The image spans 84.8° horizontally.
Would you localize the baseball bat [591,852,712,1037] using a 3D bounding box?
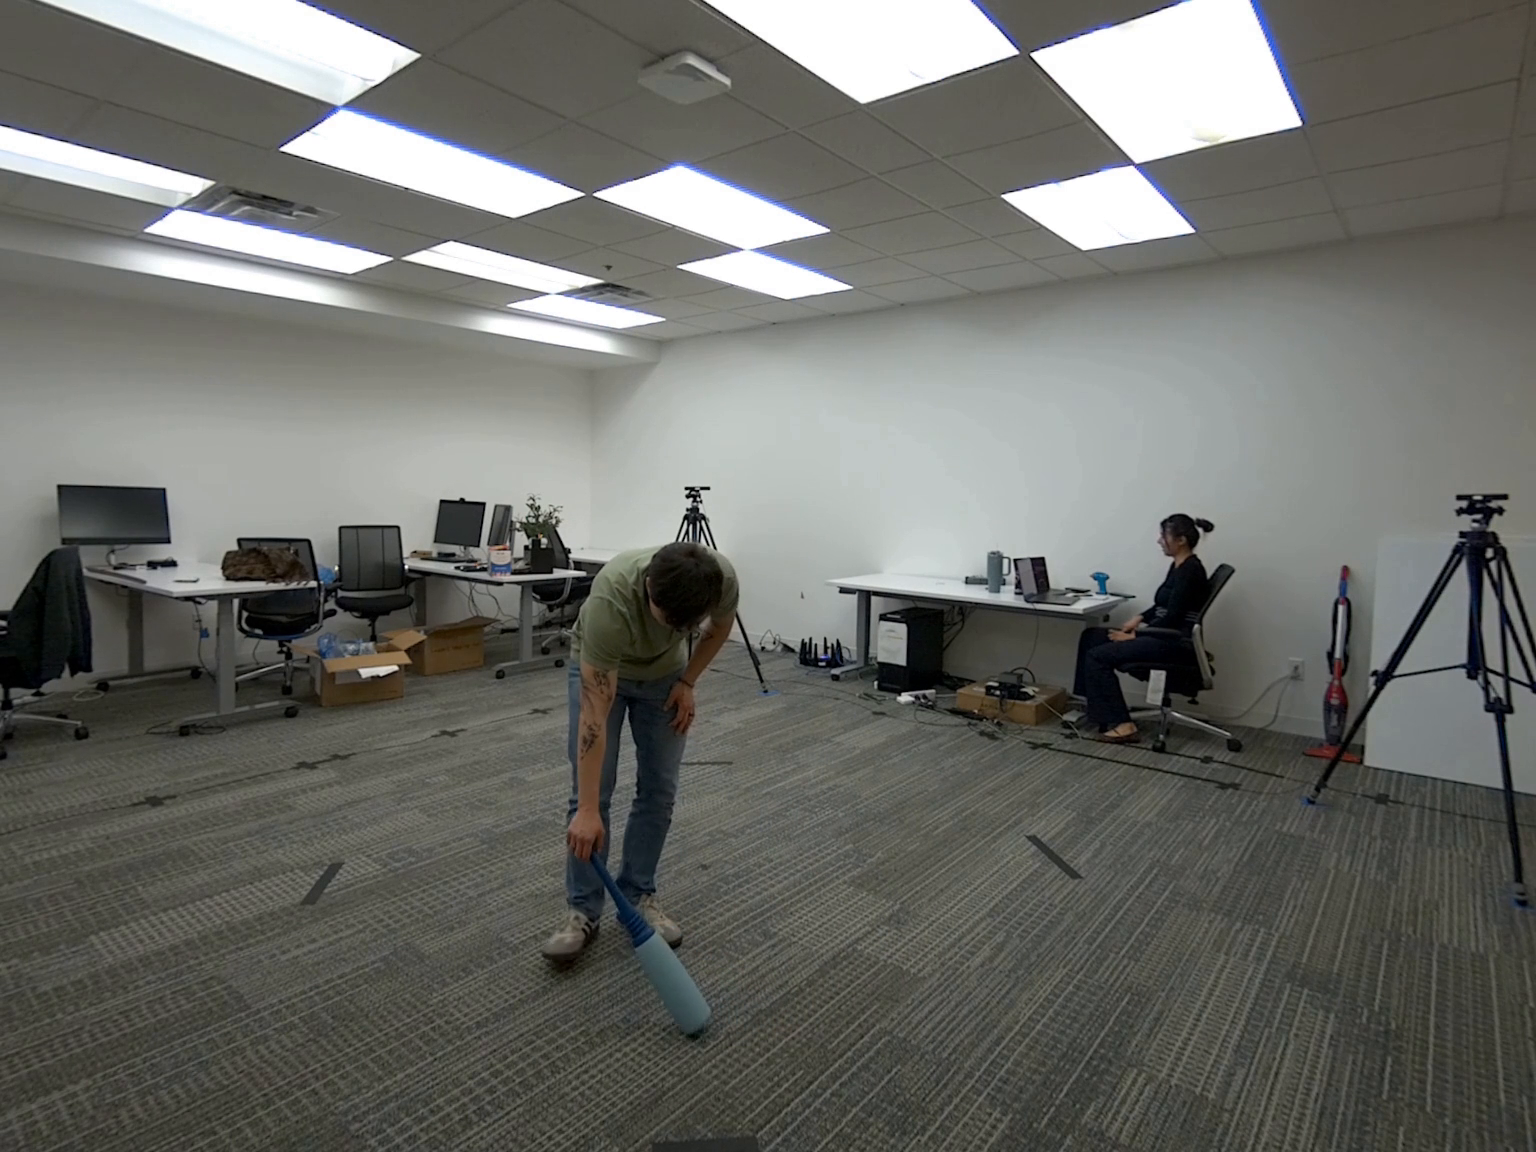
[{"bbox_3d":[-0.342,0.924,2.206,0.089,0.549,0.088,-35,-8,-6],"label":"baseball bat"}]
